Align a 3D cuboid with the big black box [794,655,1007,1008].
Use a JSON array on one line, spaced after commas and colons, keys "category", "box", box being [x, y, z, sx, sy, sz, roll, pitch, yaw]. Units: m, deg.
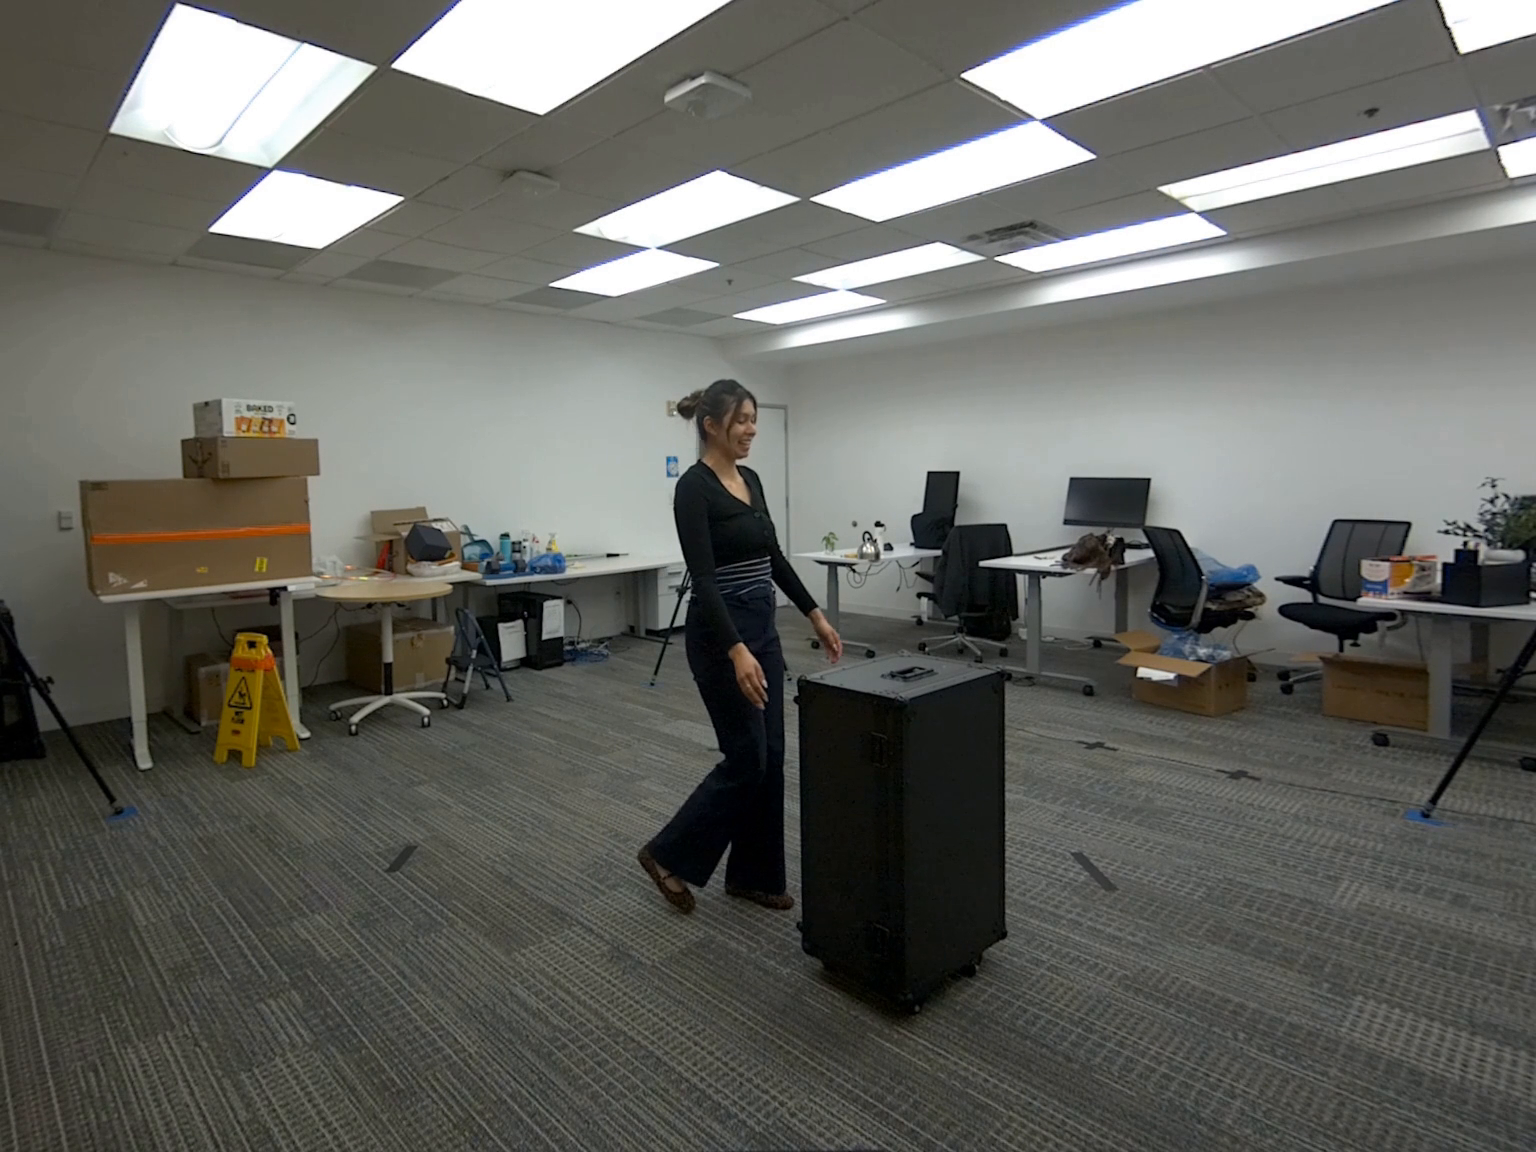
[{"category": "big black box", "box": [0.380, 0.694, 2.402, 0.507, 0.859, 0.408, -5, 5, -43]}]
